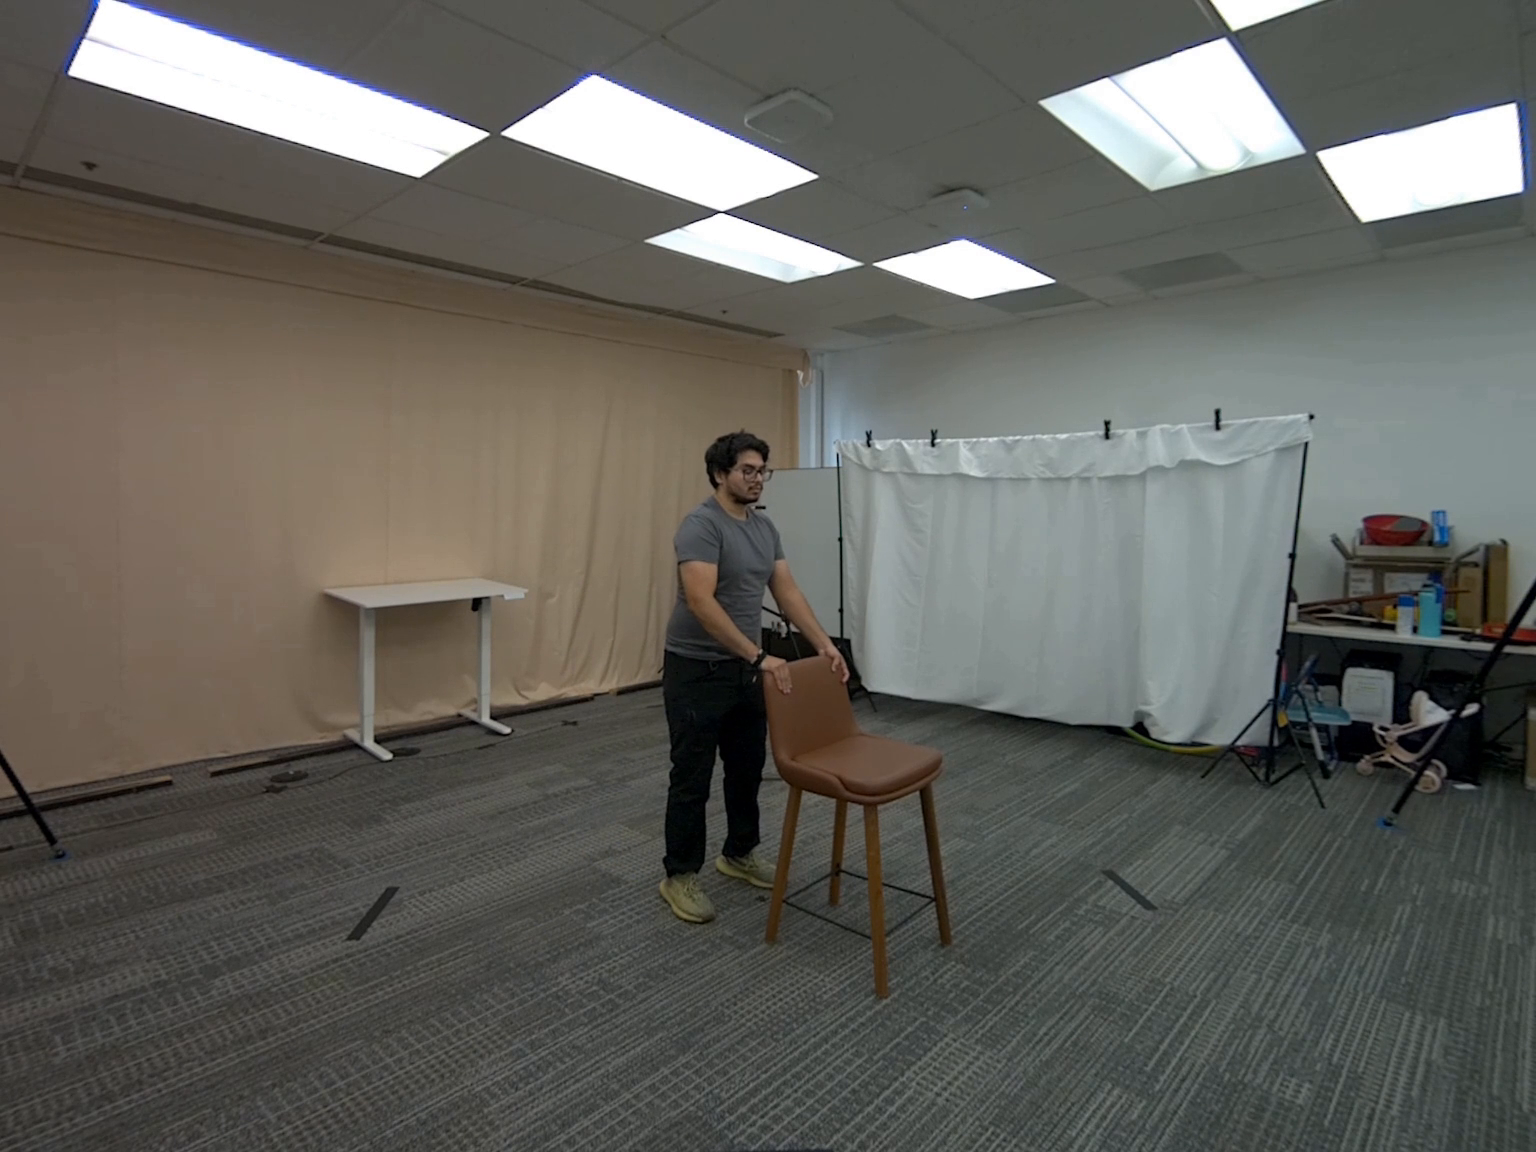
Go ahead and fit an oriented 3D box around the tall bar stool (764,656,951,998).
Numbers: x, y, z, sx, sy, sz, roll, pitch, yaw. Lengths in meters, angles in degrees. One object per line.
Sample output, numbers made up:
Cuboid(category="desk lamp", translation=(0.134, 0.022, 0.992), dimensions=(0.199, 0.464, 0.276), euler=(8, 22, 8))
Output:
Cuboid(category="tall bar stool", translation=(0.275, 0.731, 2.659), dimensions=(0.483, 0.888, 0.442), euler=(0, 3, 42))
